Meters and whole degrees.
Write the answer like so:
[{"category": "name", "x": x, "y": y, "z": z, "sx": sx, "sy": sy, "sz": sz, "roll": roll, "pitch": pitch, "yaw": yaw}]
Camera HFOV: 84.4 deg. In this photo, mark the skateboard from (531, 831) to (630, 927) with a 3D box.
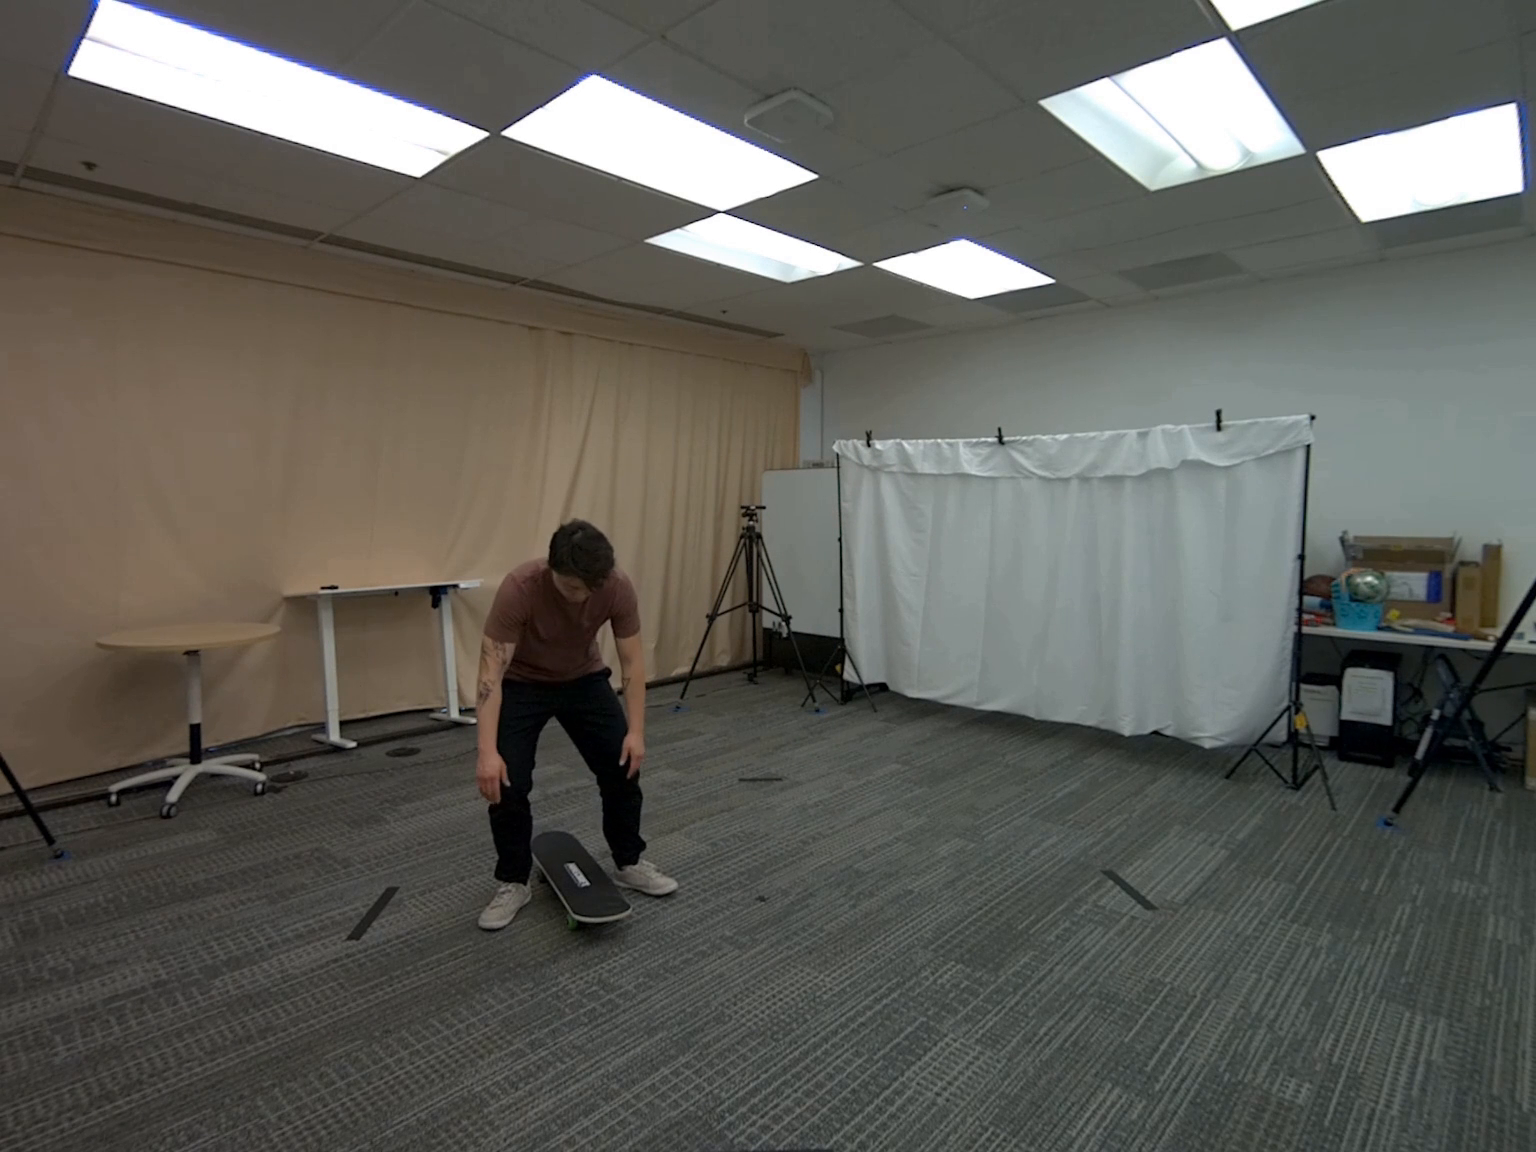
[{"category": "skateboard", "x": -0.673, "y": 1.088, "z": 2.988, "sx": 0.188, "sy": 0.110, "sz": 0.807, "roll": -3, "pitch": 5, "yaw": -28}]
